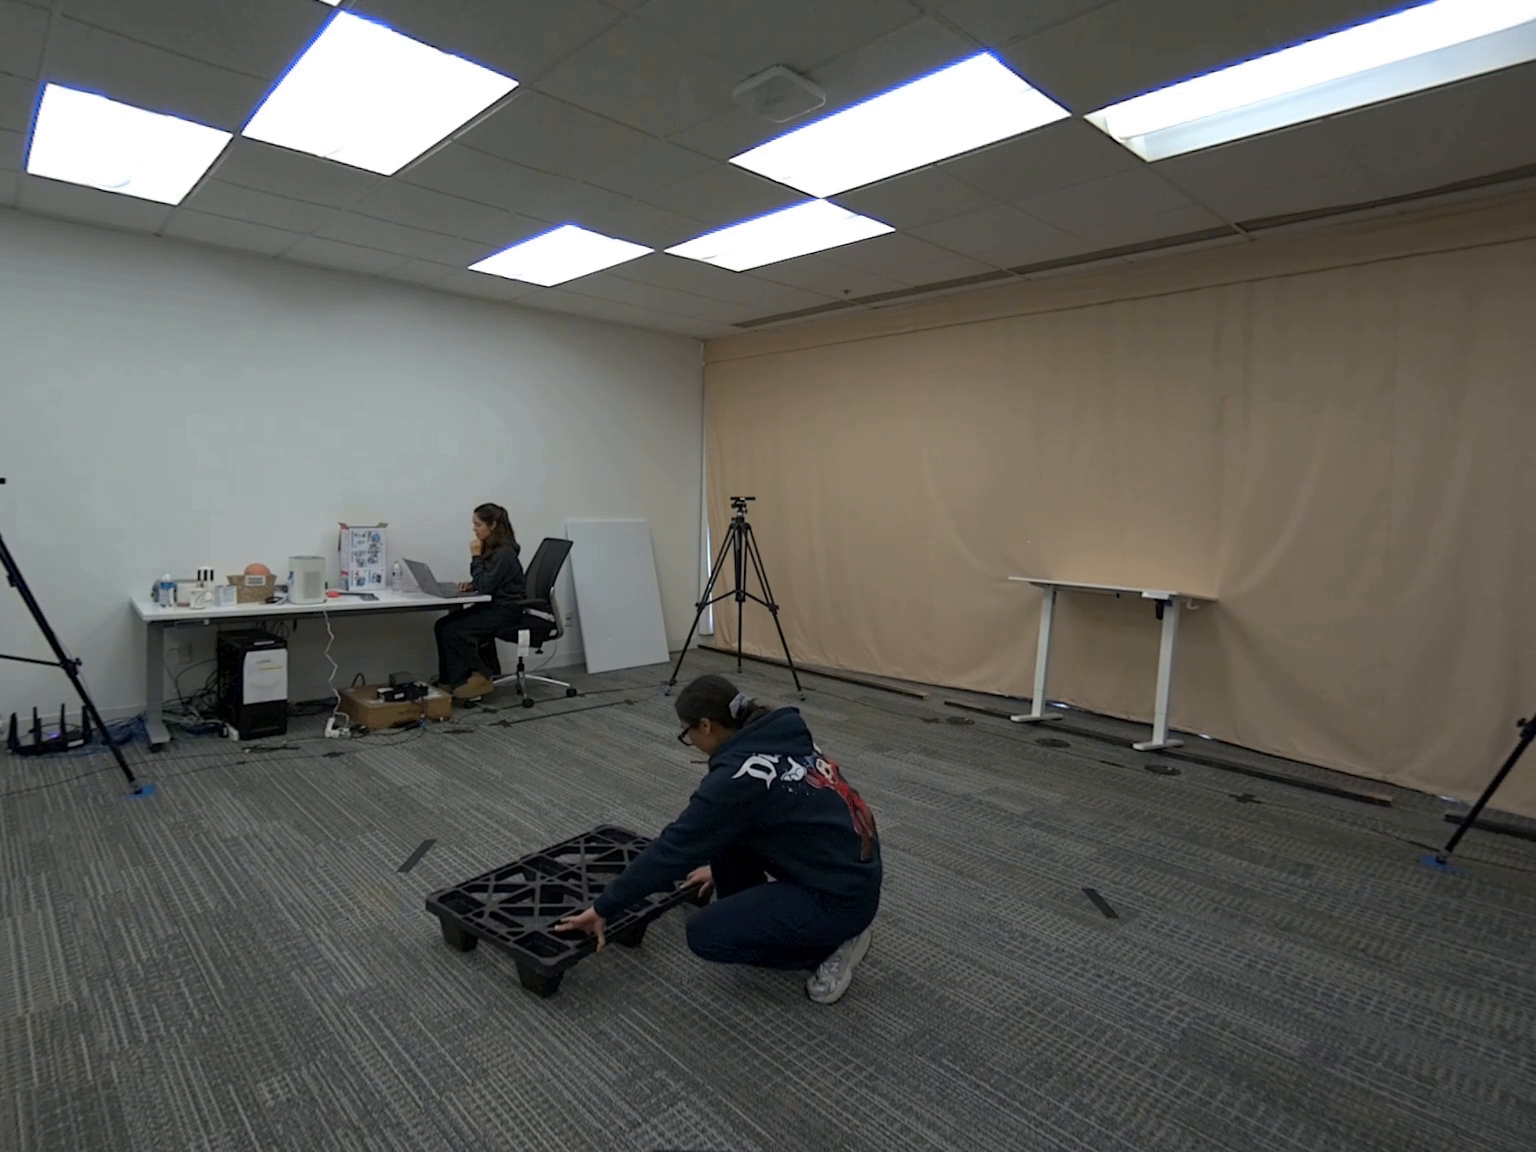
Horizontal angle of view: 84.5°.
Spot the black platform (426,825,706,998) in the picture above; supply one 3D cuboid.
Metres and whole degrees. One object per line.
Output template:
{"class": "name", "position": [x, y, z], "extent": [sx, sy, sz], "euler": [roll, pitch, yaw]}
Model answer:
{"class": "black platform", "position": [-0.595, 1.061, 2.746], "extent": [0.620, 0.143, 0.789], "euler": [5, 7, 36]}
